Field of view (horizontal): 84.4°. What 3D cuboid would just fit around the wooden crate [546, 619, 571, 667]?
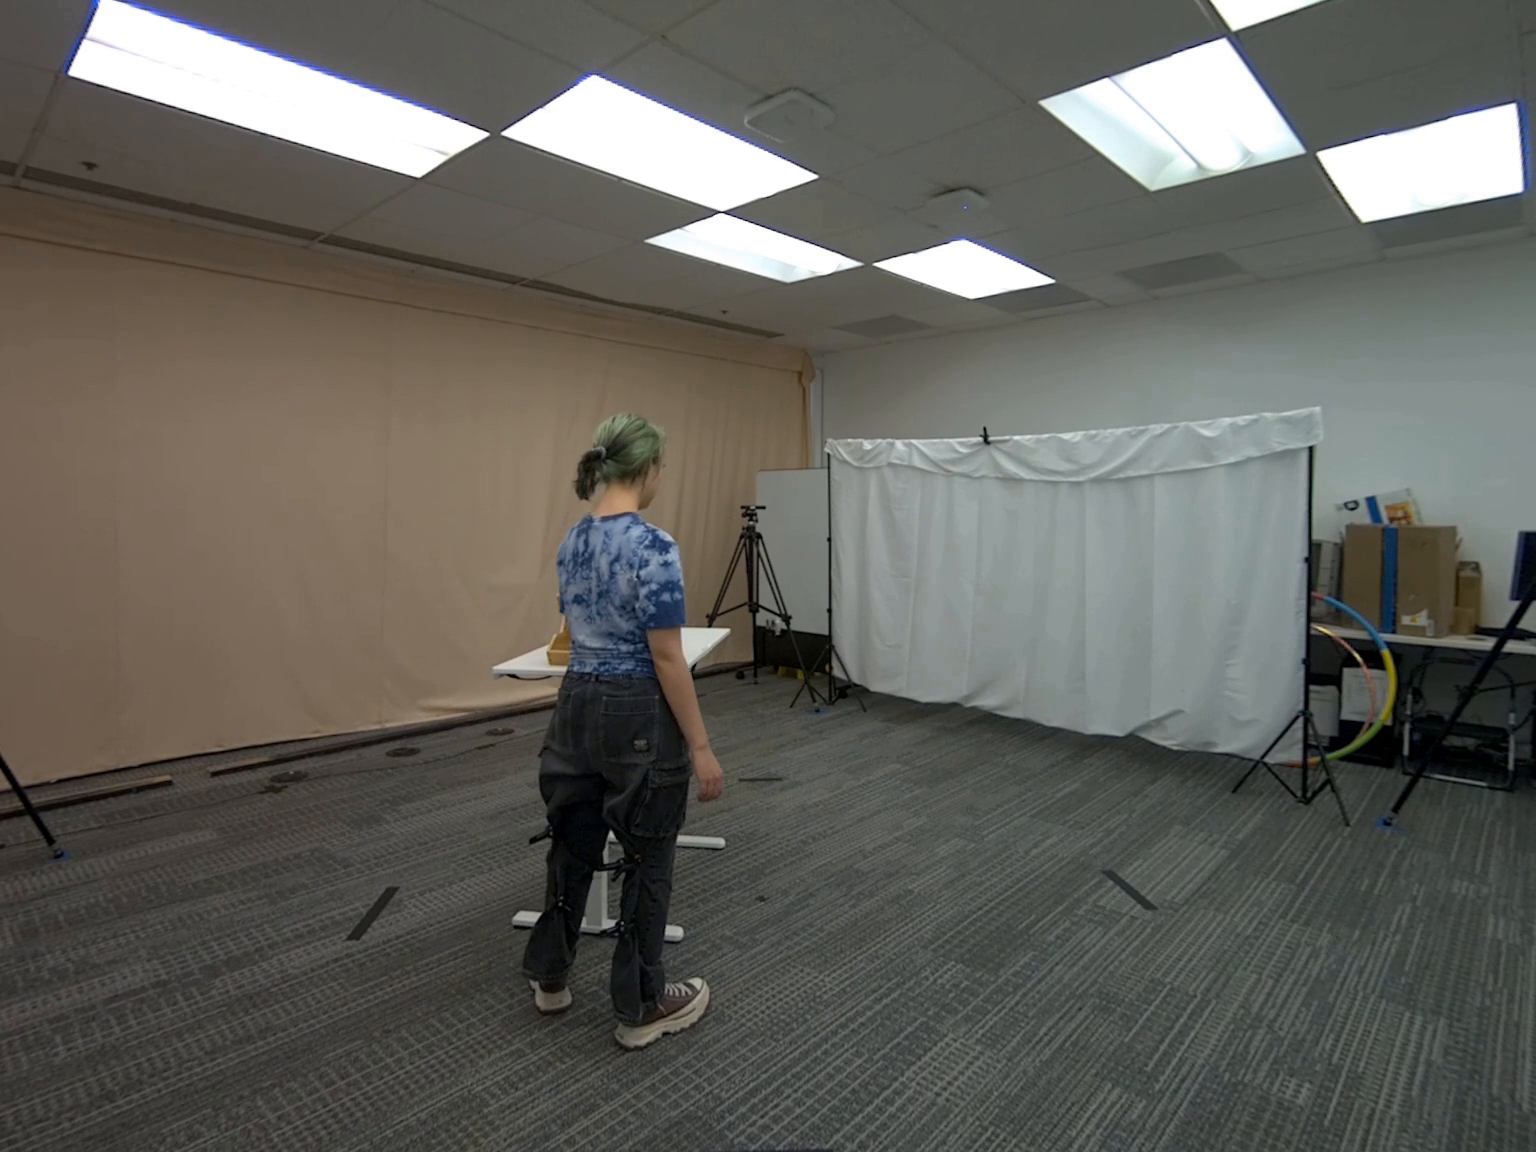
[{"bbox_3d":[-0.542,0.151,2.787,0.328,0.272,0.299,0,4,9],"label":"wooden crate"}]
